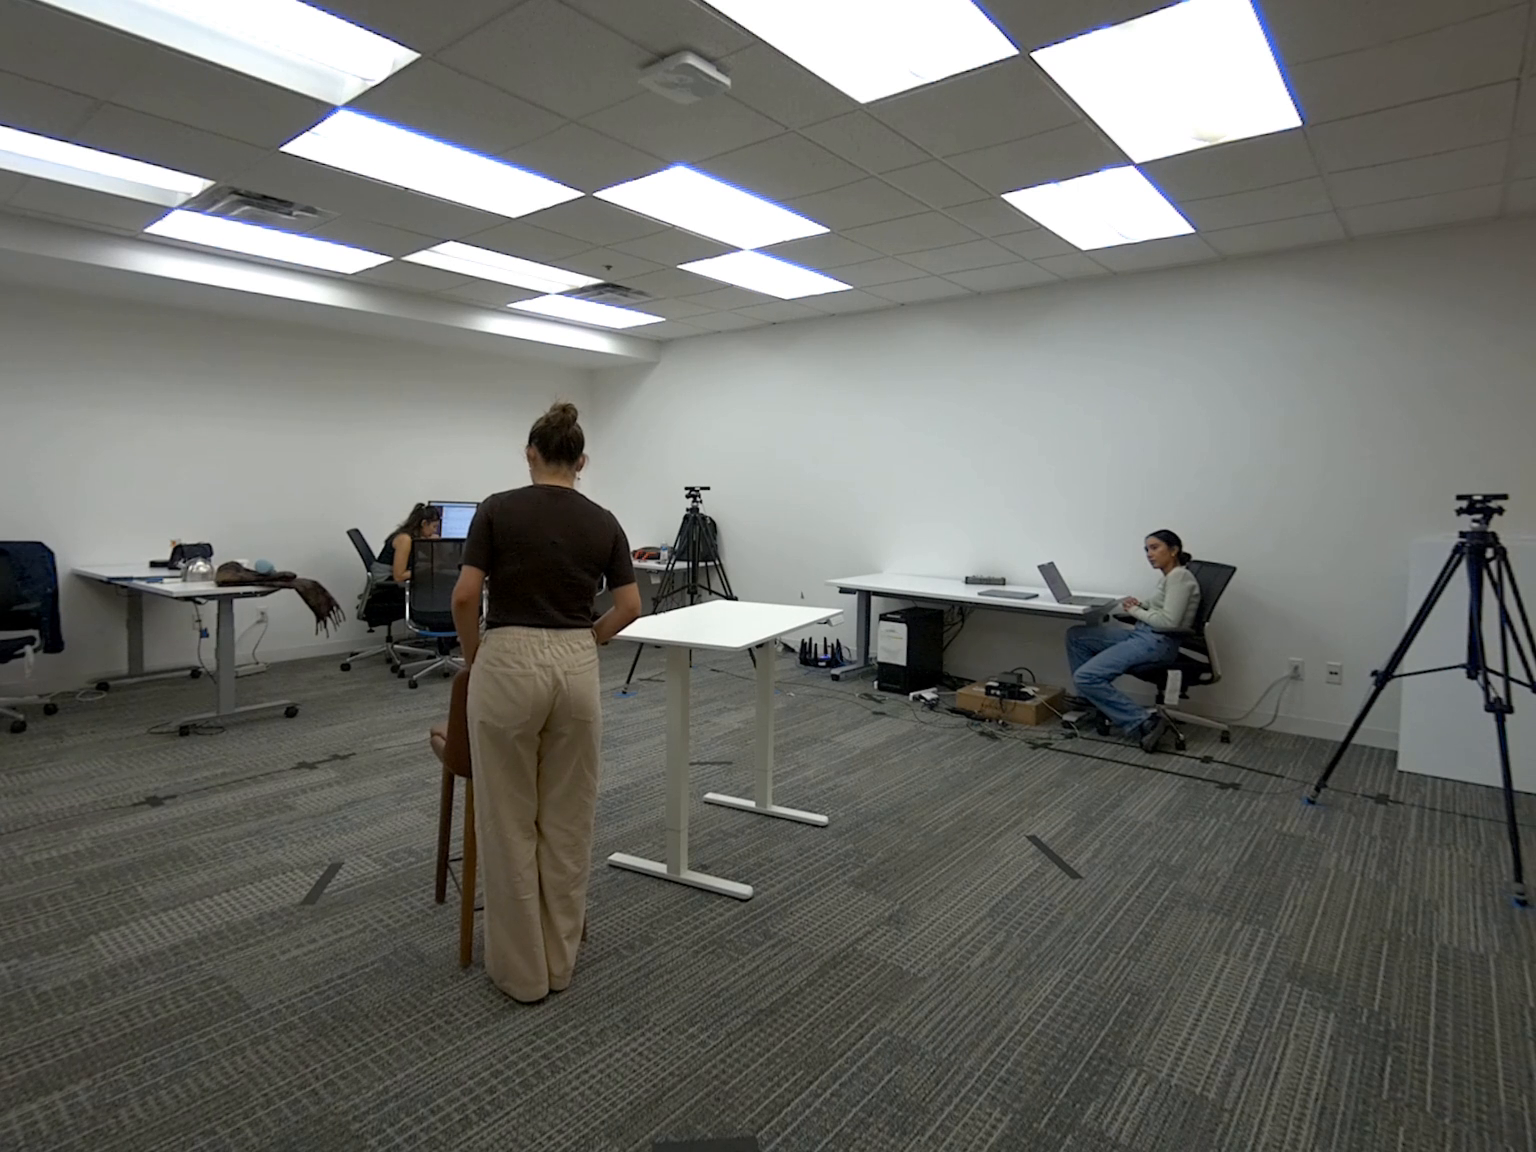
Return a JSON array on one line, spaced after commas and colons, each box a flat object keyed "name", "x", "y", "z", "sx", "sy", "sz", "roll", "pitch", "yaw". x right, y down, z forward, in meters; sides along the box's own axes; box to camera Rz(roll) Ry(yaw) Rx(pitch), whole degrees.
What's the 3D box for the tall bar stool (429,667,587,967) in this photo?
[{"name": "tall bar stool", "x": -0.828, "y": 0.657, "z": 2.696, "sx": 0.445, "sy": 0.886, "sz": 0.481, "roll": -1, "pitch": 5, "yaw": -27}]
